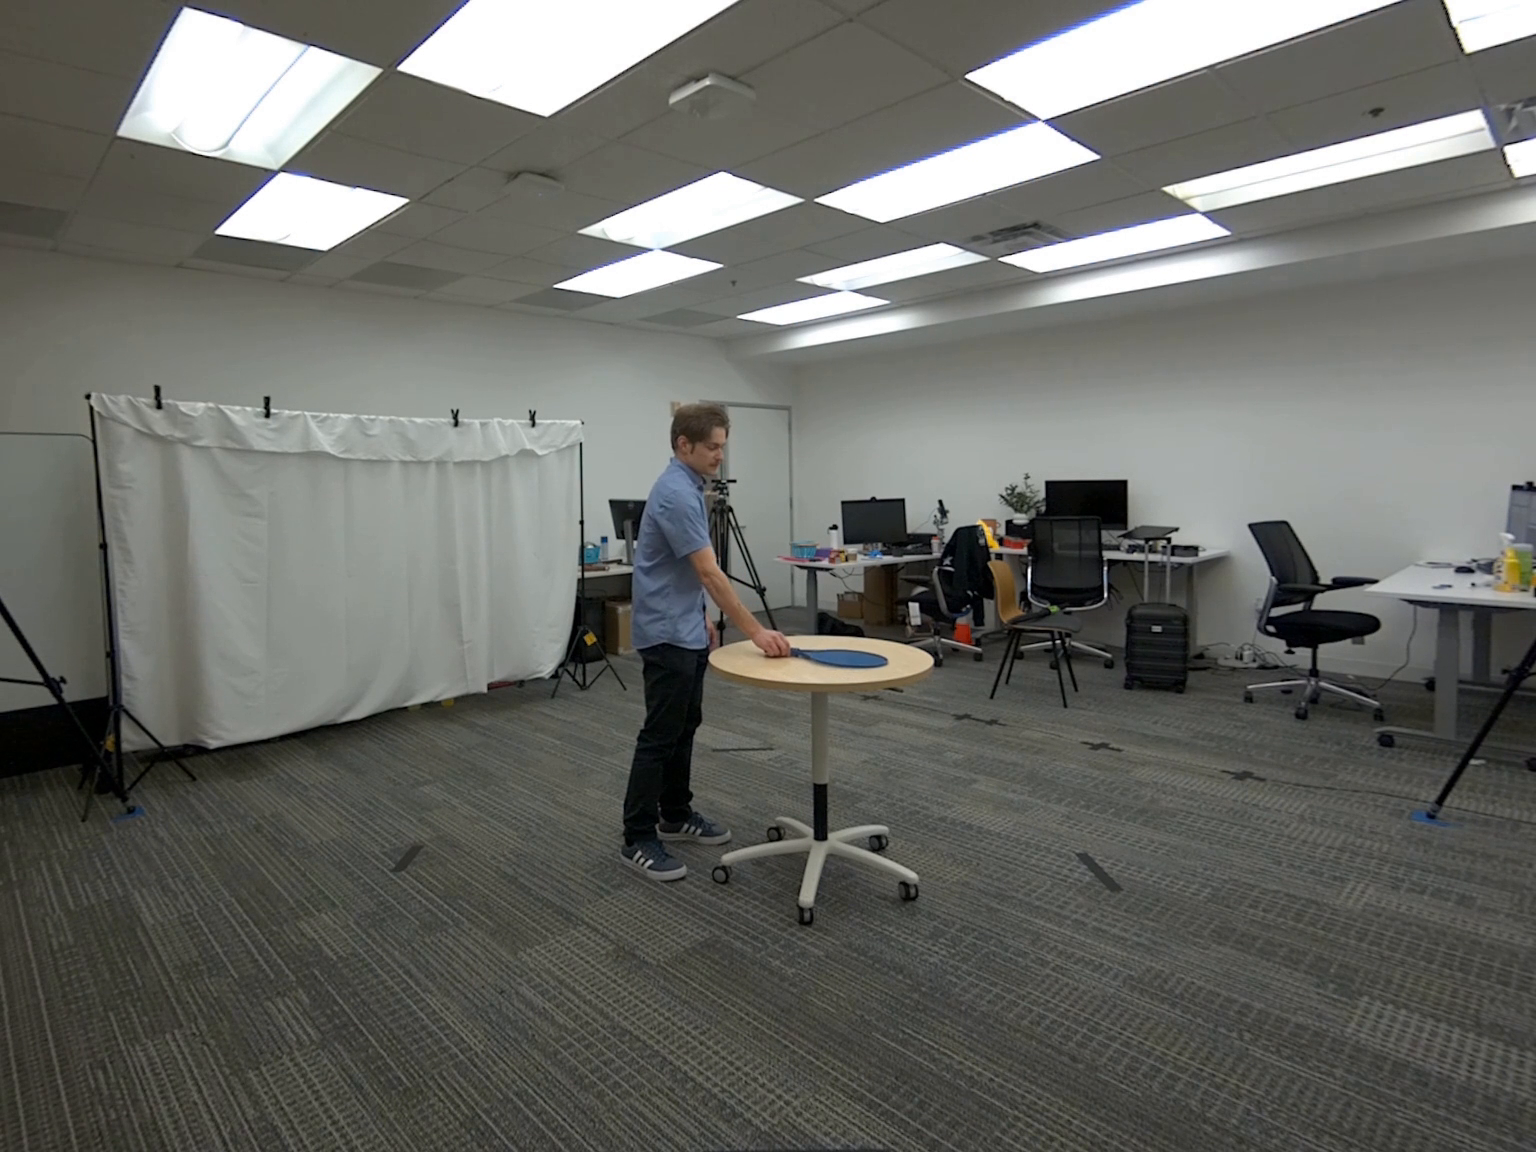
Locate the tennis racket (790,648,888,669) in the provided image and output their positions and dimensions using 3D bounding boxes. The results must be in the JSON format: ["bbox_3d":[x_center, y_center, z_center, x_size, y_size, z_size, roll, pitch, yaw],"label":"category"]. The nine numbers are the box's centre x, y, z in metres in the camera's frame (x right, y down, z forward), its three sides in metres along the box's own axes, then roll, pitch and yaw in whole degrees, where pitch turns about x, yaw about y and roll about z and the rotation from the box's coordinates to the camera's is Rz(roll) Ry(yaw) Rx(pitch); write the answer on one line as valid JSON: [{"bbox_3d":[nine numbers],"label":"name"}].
[{"bbox_3d":[0.195,0.273,2.893,0.443,0.031,0.210,4,7,24],"label":"tennis racket"}]
